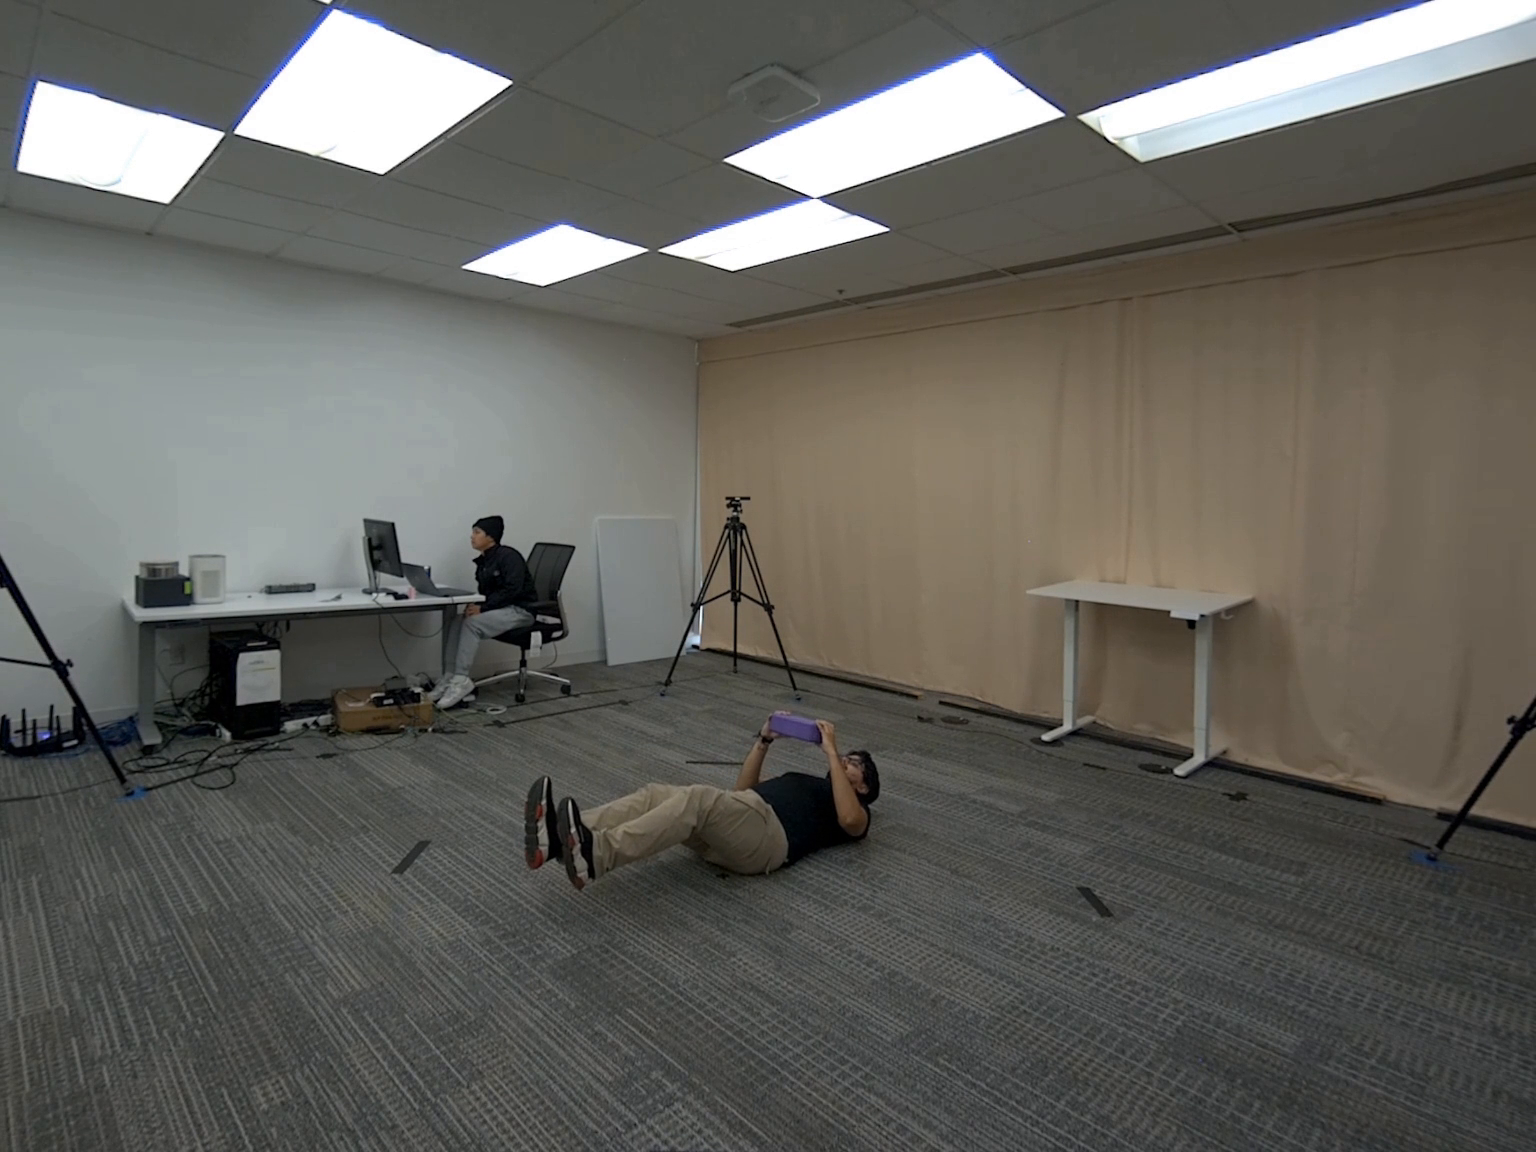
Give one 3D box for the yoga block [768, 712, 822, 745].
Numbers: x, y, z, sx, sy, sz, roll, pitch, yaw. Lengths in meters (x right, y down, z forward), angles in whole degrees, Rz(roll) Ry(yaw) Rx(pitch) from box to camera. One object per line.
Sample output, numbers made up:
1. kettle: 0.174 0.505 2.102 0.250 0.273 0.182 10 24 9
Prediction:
1. yoga block: 0.126 0.631 3.481 0.235 0.076 0.145 6 -3 43
